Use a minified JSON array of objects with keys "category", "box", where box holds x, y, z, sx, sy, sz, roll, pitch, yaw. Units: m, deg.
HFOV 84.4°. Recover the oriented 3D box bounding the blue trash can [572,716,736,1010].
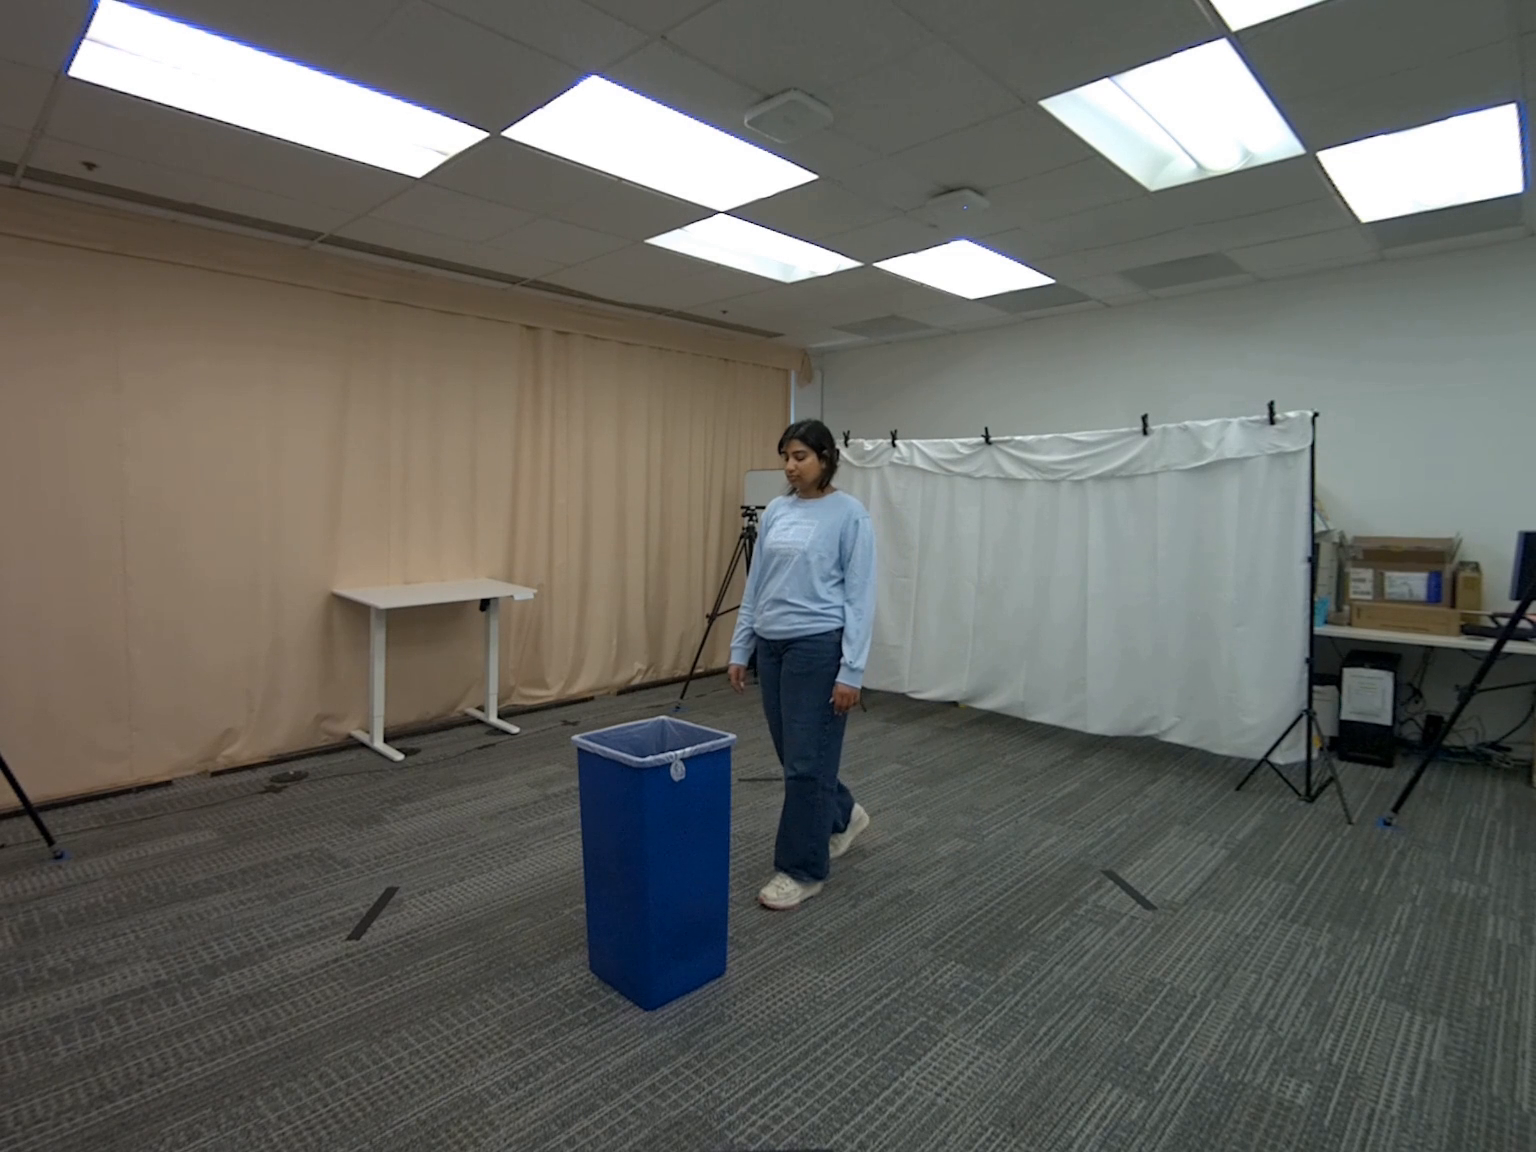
[{"category":"blue trash can","box":[-0.340,0.829,2.508,0.366,0.712,0.386,-3,4,-44]}]
